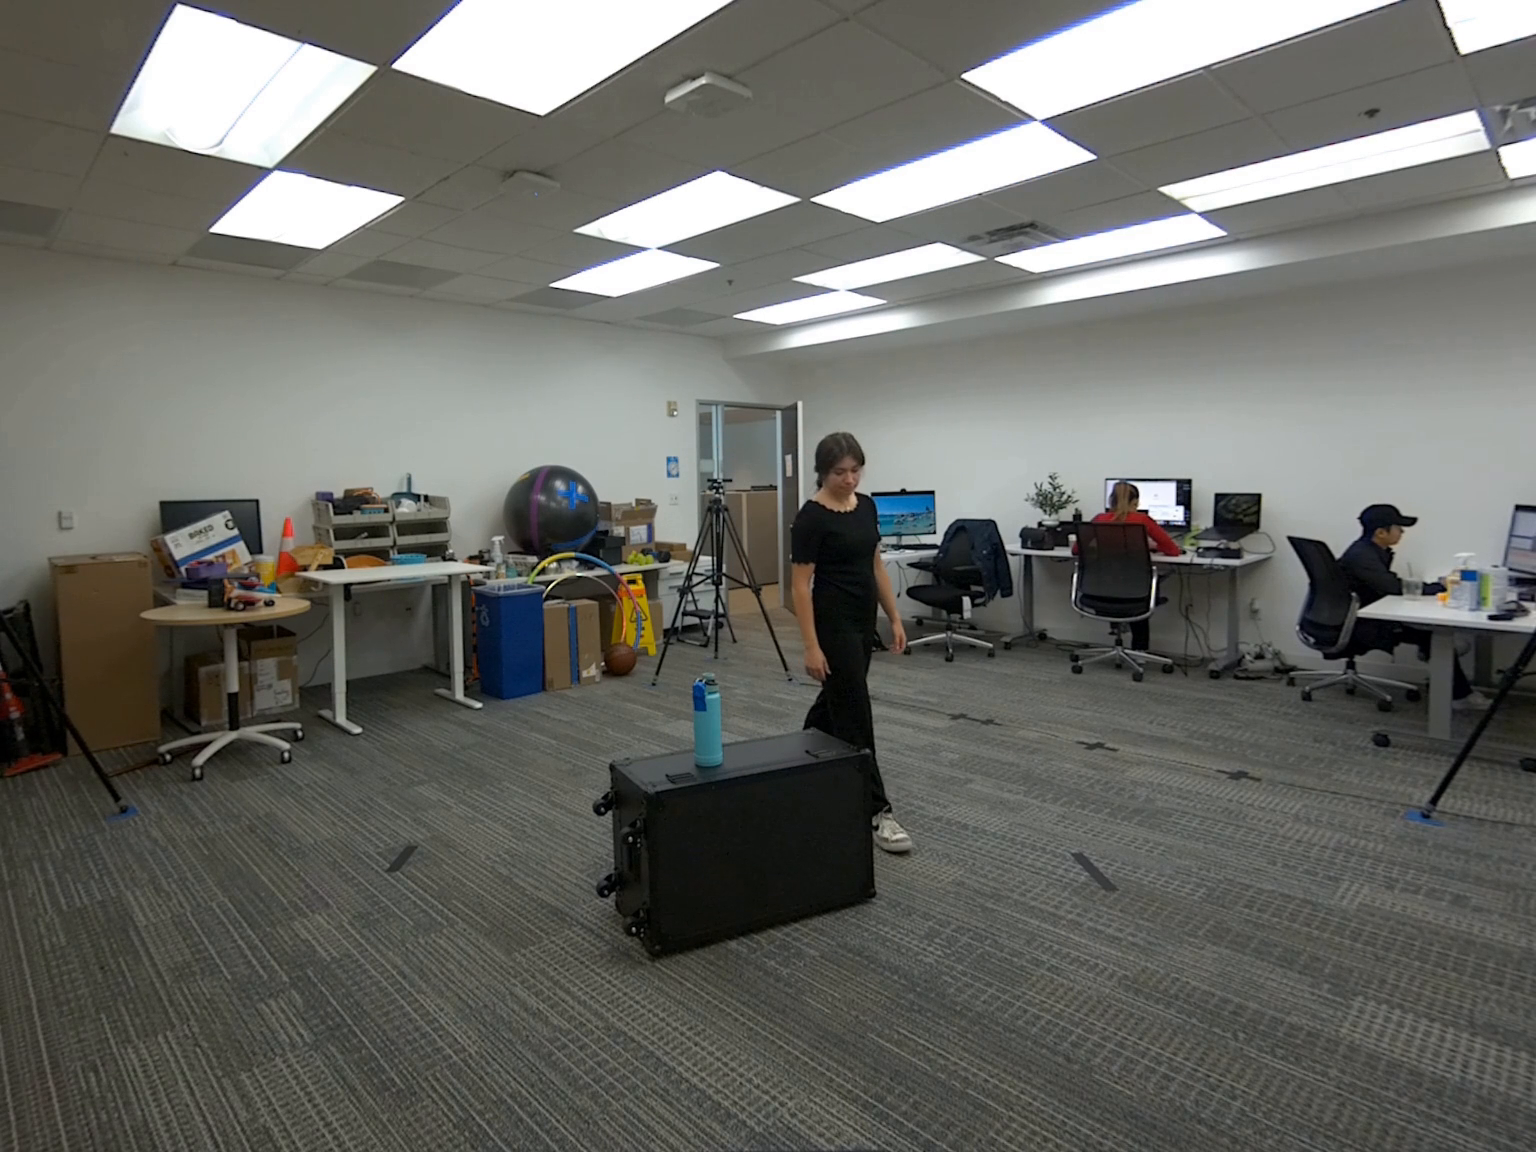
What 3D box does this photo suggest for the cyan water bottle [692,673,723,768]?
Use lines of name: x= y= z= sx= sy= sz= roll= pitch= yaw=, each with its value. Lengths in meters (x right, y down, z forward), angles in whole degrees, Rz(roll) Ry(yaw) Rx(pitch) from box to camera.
cyan water bottle: x=-0.192 y=0.463 z=2.742 sx=0.092 sy=0.282 sz=0.093 roll=-2 pitch=3 yaw=-2
